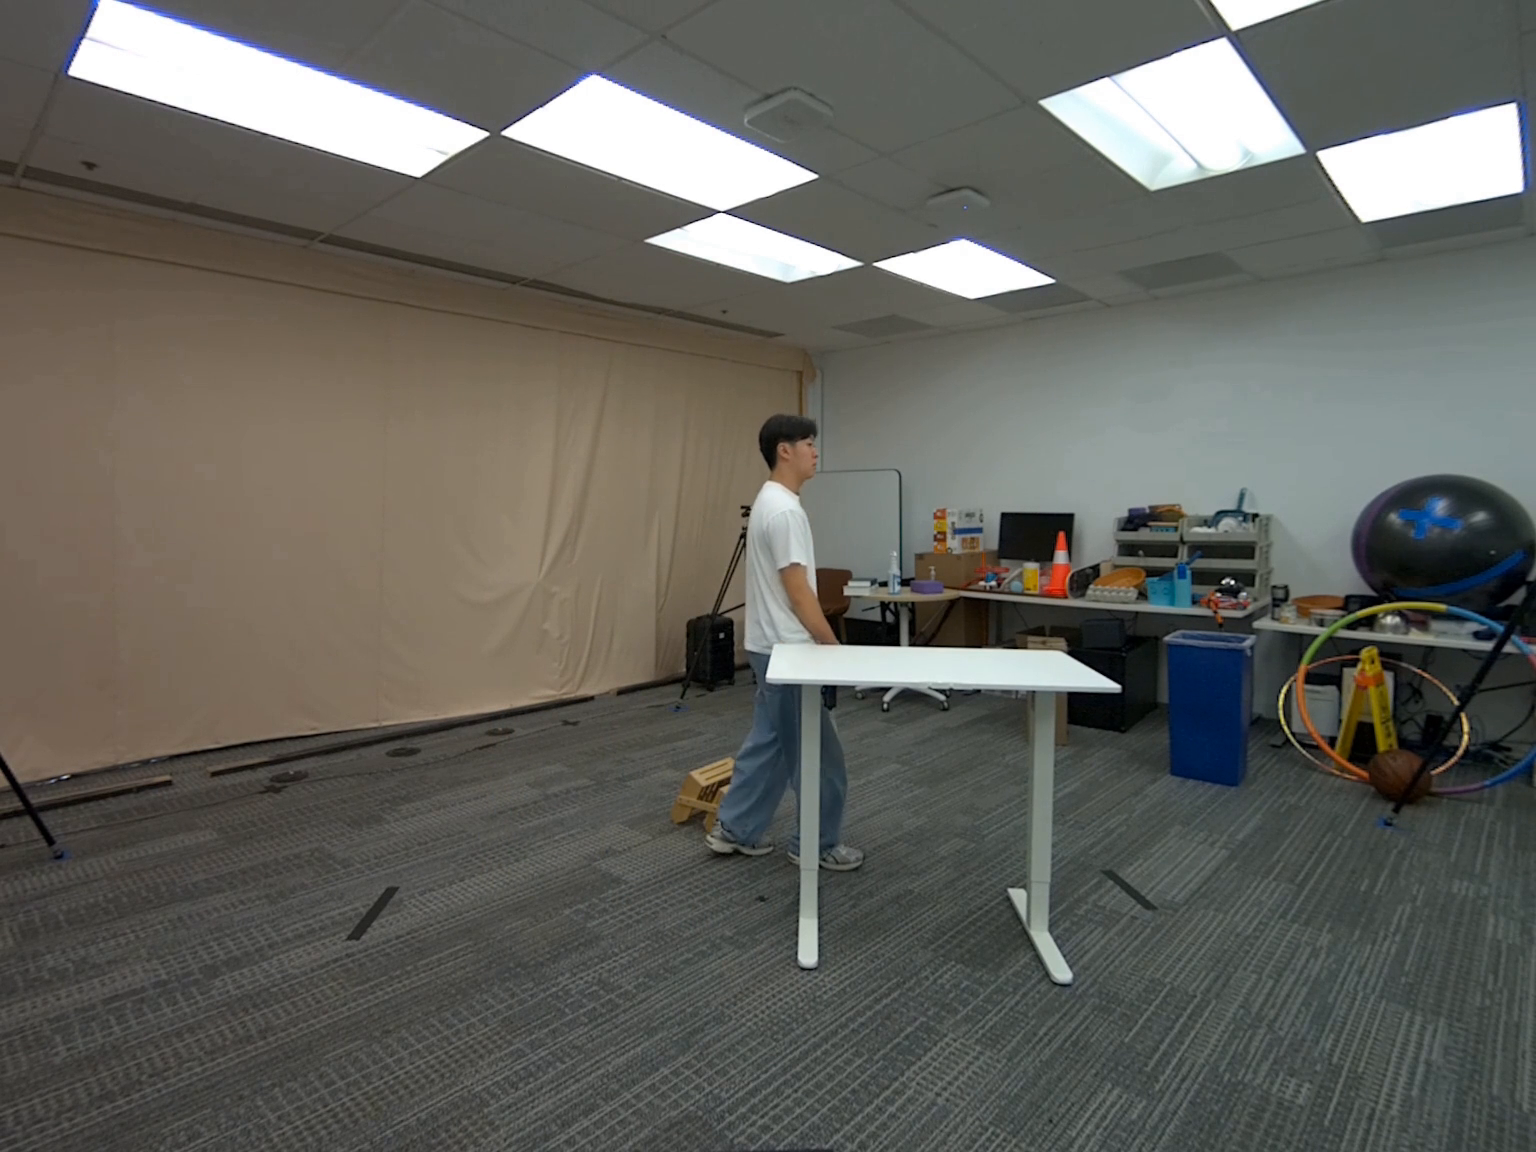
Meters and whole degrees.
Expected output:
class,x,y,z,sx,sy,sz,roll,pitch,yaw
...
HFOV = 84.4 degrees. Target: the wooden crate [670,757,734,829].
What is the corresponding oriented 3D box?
class,x,y,z,sx,sy,sz,roll,pitch,yaw
wooden crate,-0.199,0.995,3.717,0.282,0.301,0.315,35,23,30
